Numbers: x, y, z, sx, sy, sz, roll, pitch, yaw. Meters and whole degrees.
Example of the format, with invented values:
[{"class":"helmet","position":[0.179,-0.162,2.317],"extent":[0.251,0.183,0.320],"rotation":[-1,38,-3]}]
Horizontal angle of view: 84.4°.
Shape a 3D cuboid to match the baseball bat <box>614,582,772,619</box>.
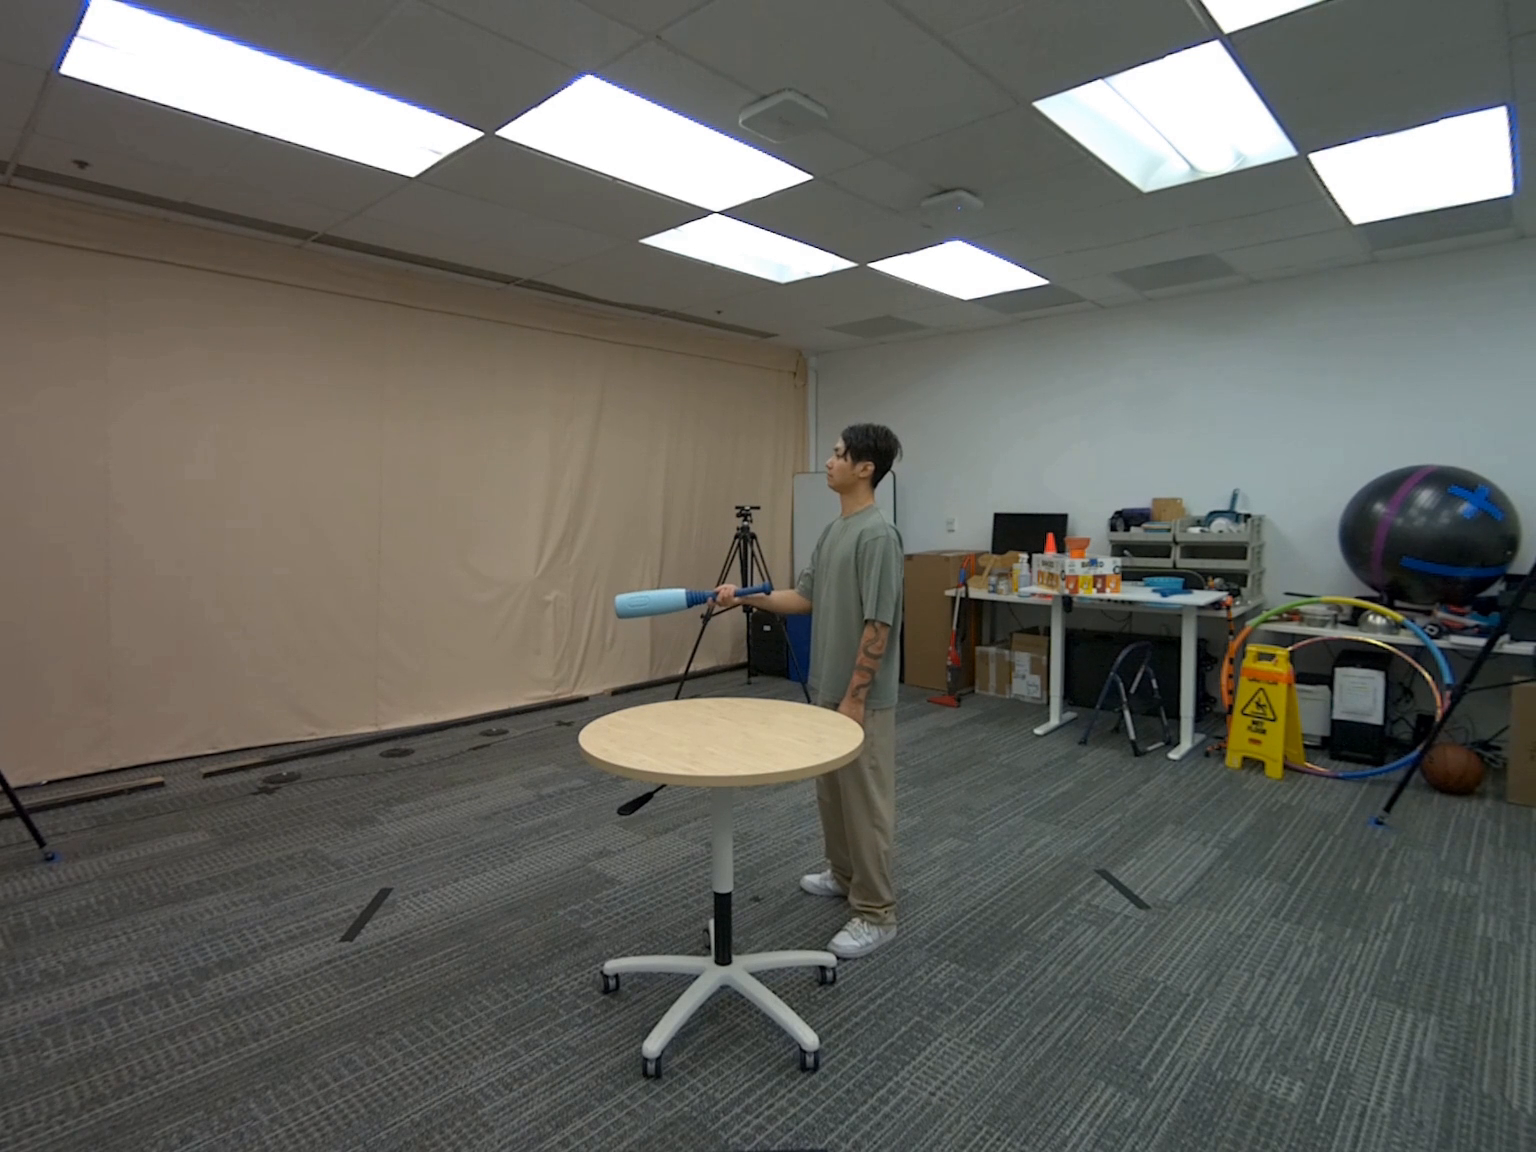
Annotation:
[{"class":"baseball bat","position":[-0.256,0.084,2.910],"extent":[0.545,0.089,0.089],"rotation":[-6,4,4]}]
